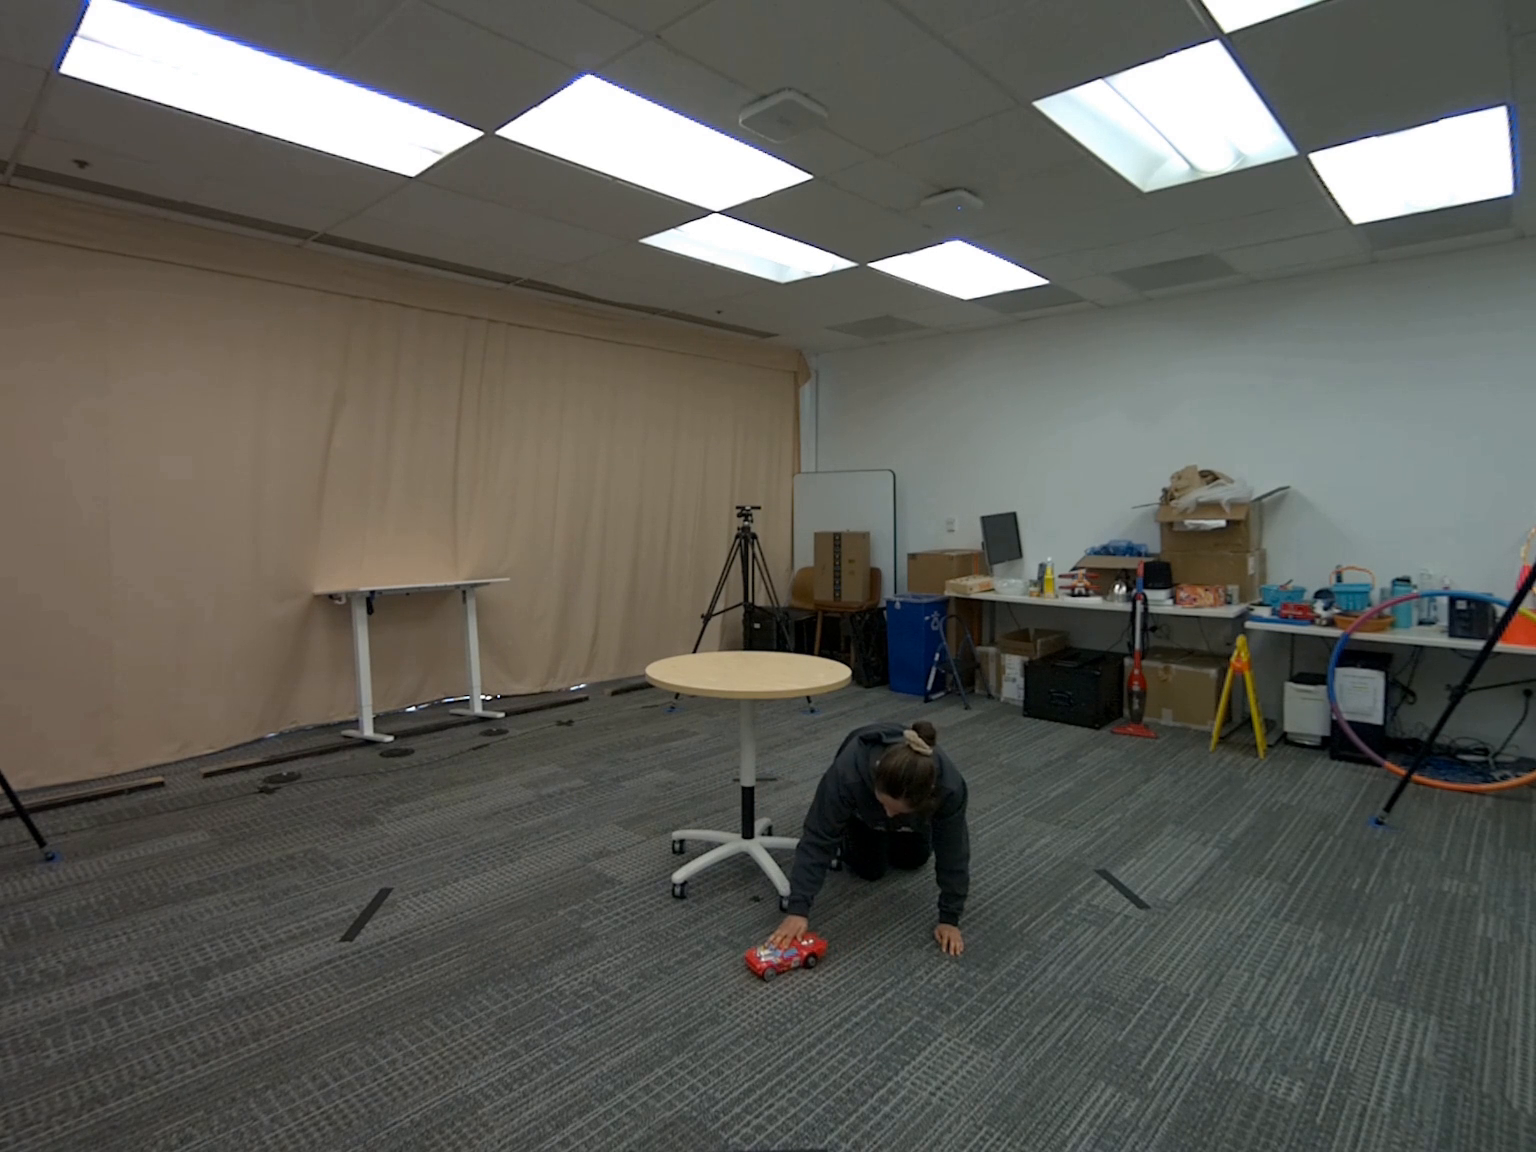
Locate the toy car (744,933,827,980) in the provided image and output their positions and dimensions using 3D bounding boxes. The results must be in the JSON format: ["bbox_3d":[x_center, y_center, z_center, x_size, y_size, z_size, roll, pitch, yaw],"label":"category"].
[{"bbox_3d":[0.078,1.143,2.555,0.249,0.082,0.134,-15,10,-25],"label":"toy car"}]
